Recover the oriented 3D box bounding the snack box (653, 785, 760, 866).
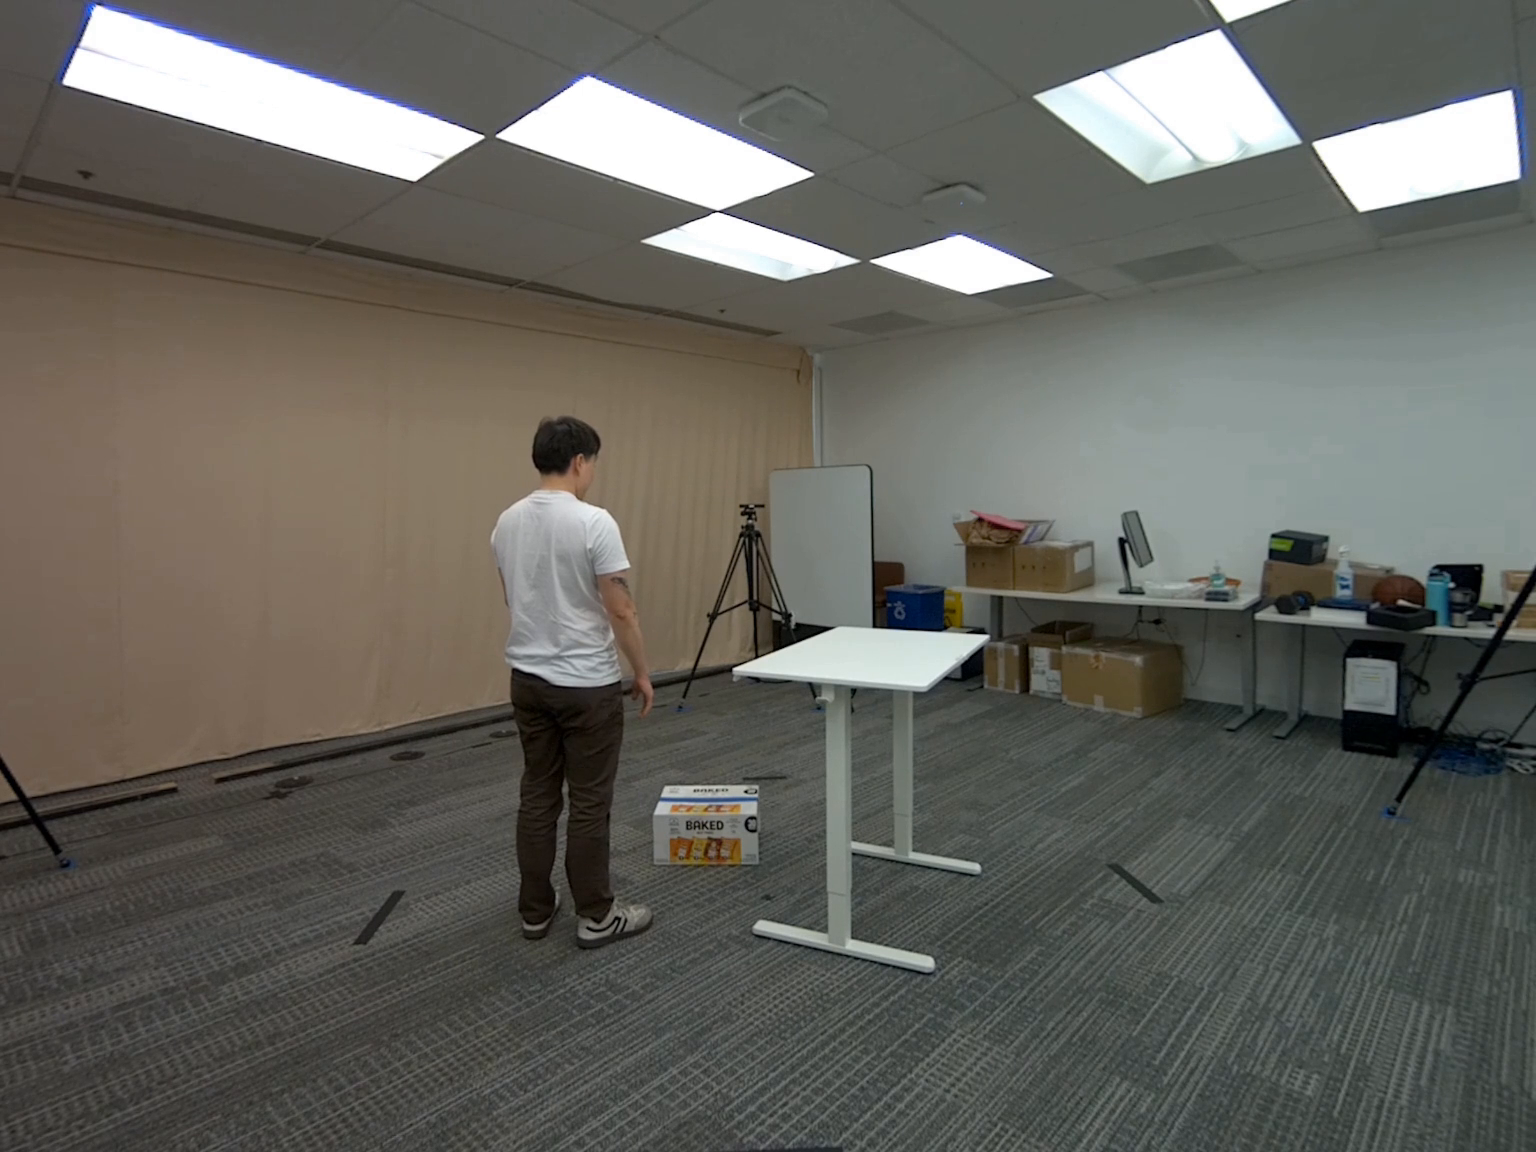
[{"bbox_3d":[-0.239,1.003,3.418,0.406,0.205,0.340,-1,5,2],"label":"snack box"}]
